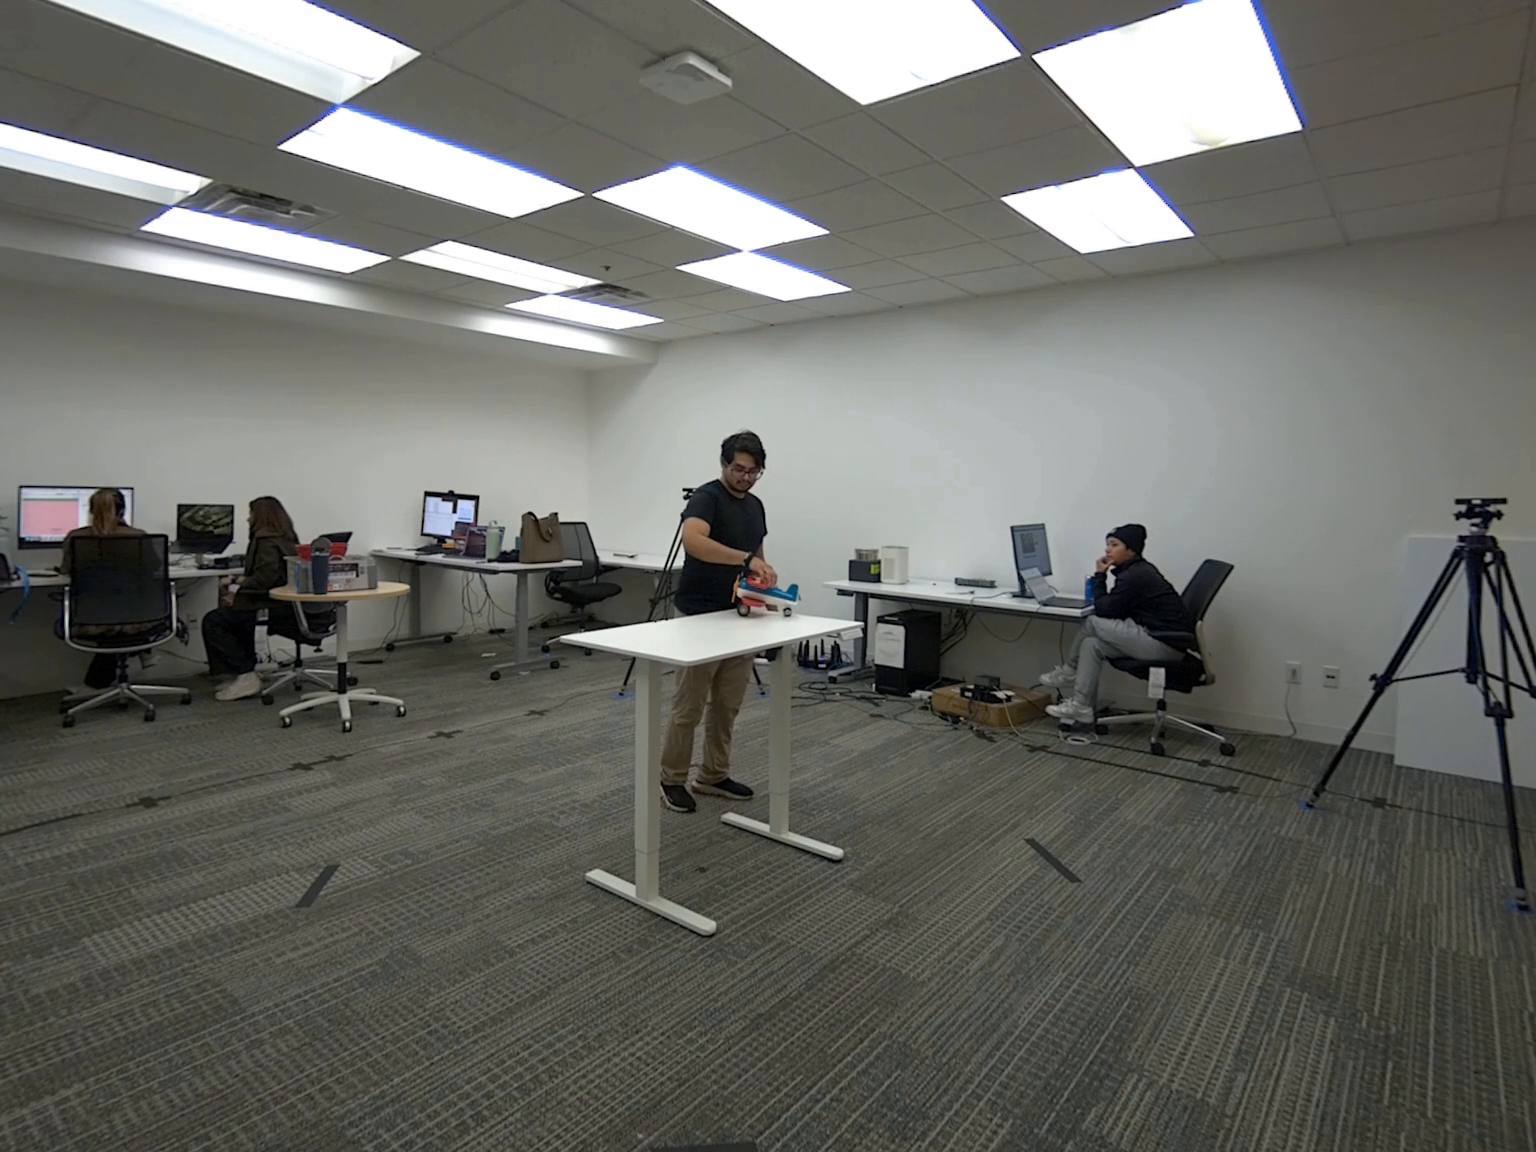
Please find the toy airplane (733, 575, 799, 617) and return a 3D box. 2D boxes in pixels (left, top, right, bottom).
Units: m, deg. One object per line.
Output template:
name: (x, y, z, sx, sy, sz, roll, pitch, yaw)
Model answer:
toy airplane: (-0.026, 0.074, 3.452, 0.253, 0.156, 0.258, -4, 6, -26)
